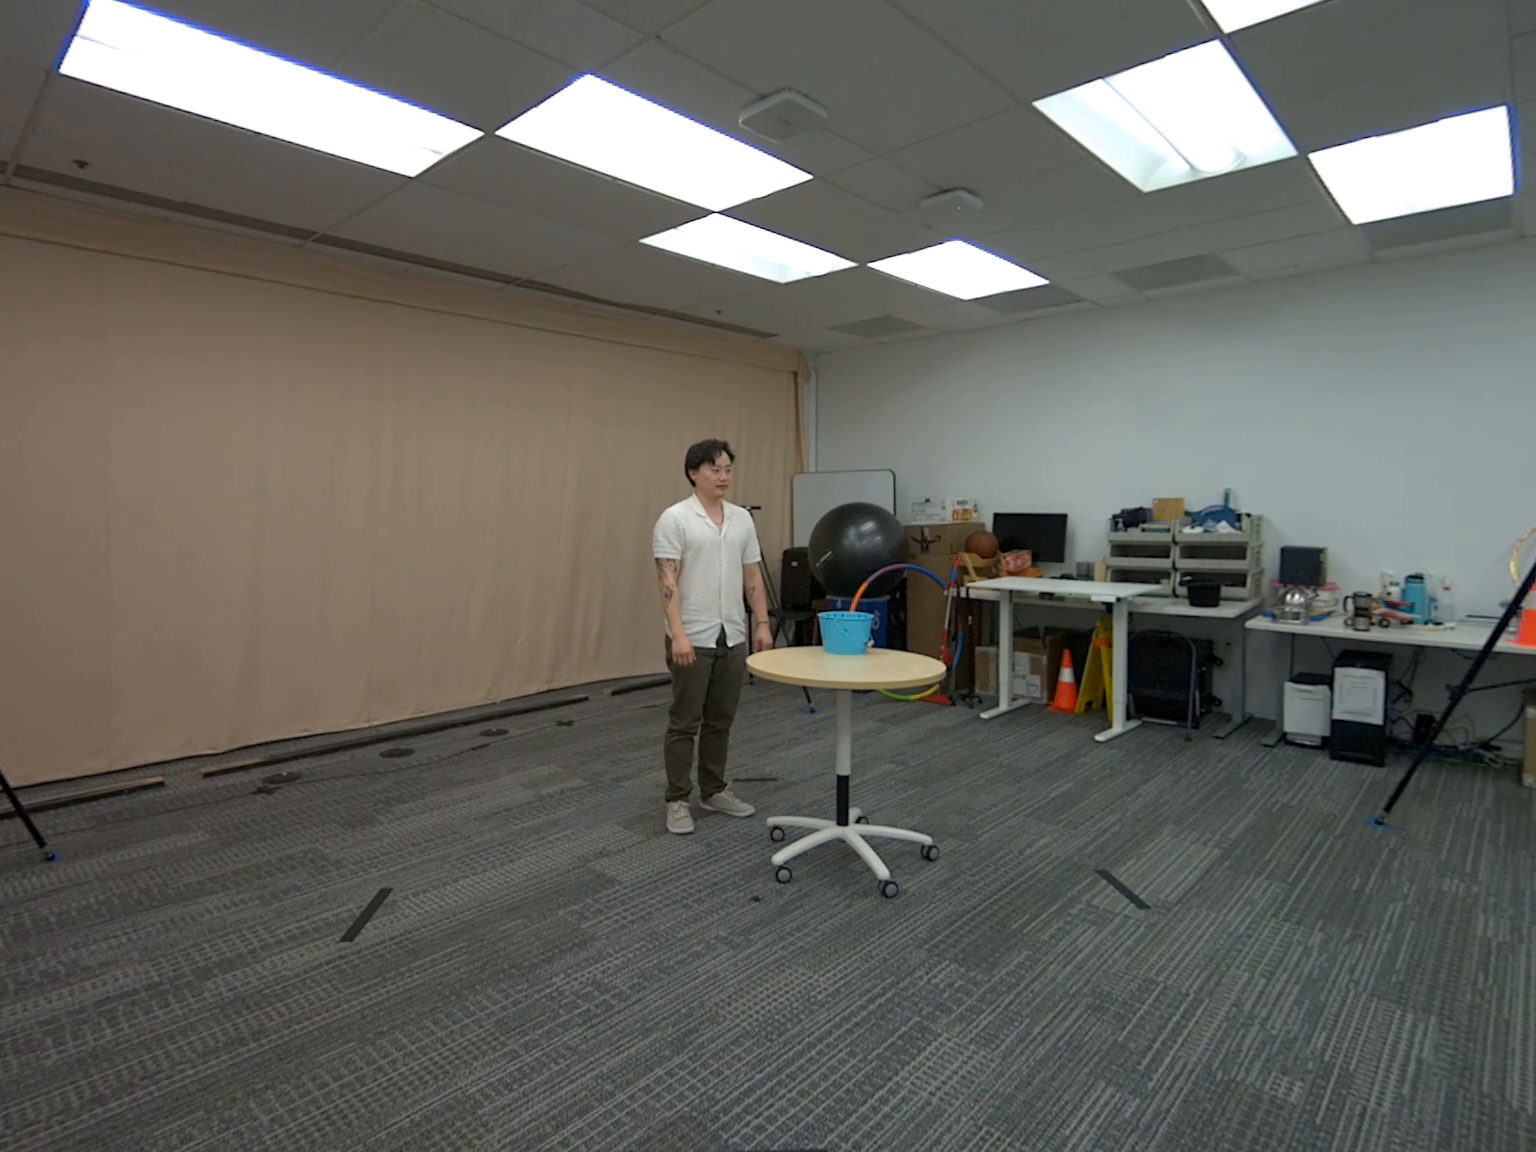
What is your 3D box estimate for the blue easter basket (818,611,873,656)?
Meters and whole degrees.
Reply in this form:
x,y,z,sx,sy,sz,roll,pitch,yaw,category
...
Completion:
x,y,z,sx,sy,sz,roll,pitch,yaw,category
0.329,0.242,3.533,0.243,0.155,0.244,0,3,-2,blue easter basket
